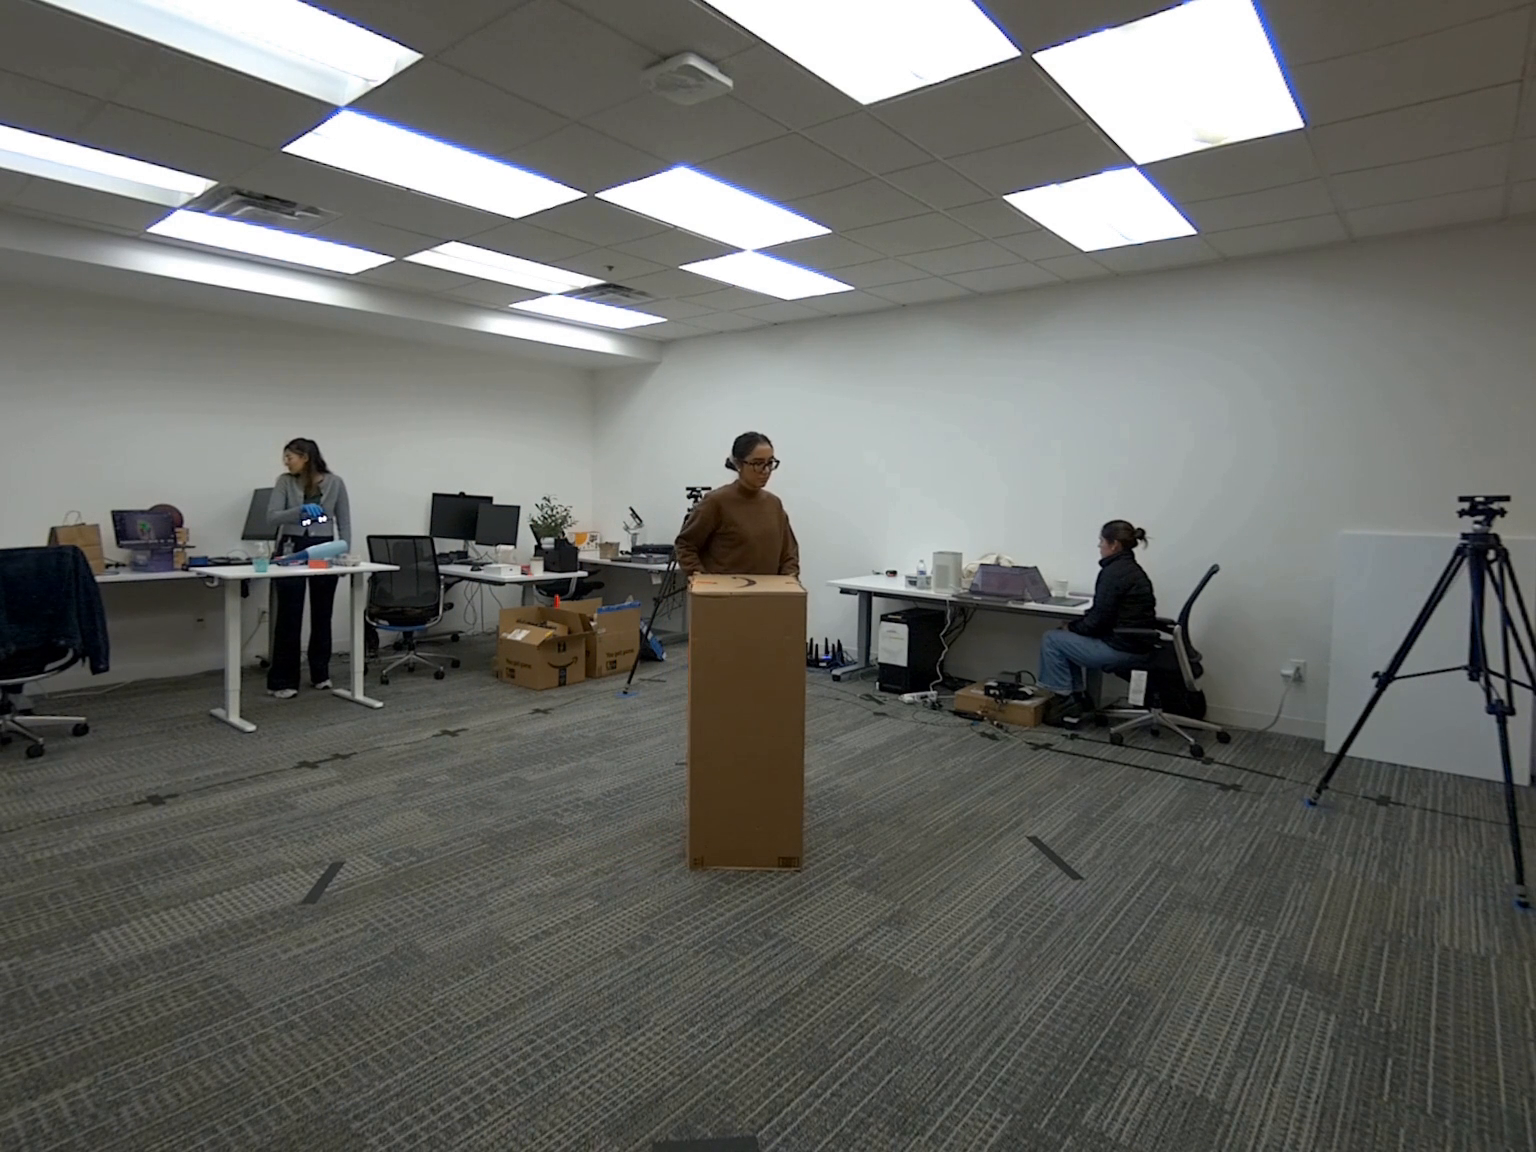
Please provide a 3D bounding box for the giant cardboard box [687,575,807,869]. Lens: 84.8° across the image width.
[{"bbox_3d":[-0.104,0.536,3.349,0.426,1.022,0.580,0,4,-2],"label":"giant cardboard box"}]
